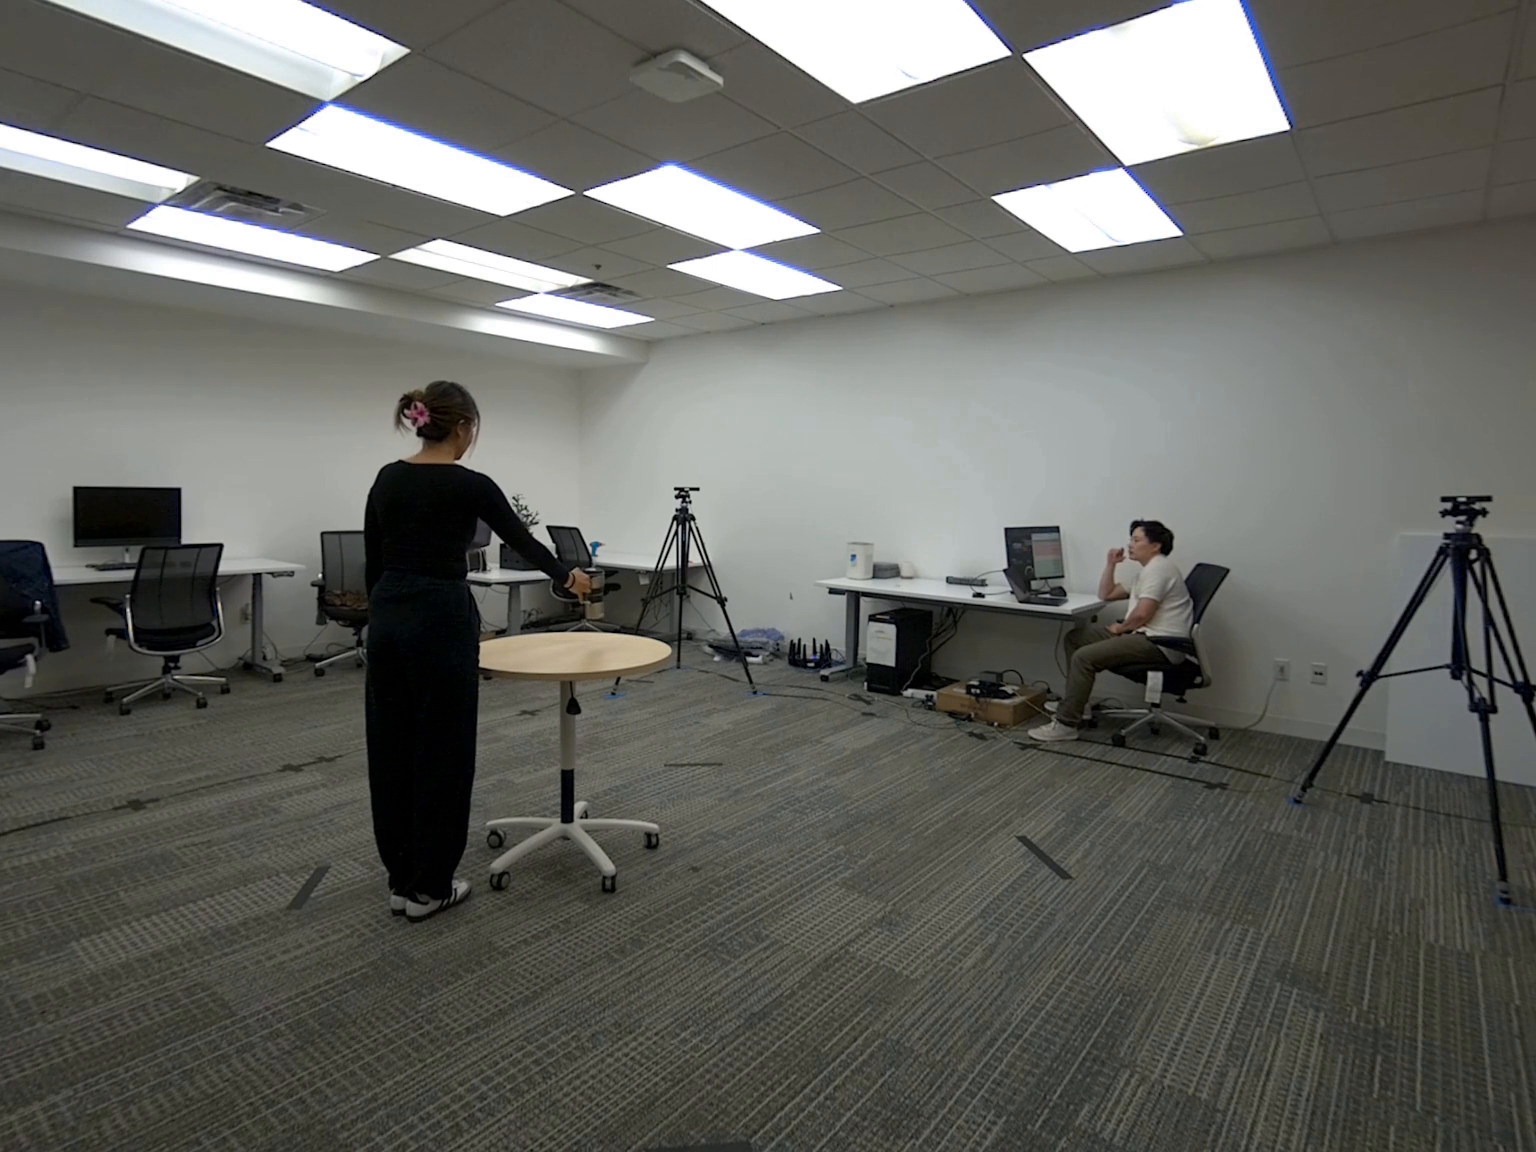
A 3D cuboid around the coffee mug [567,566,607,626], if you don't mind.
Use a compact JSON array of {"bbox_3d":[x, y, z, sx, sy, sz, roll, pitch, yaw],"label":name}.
[{"bbox_3d":[-0.707,0.075,3.277,0.119,0.201,0.091,-5,11,-31],"label":"coffee mug"}]
